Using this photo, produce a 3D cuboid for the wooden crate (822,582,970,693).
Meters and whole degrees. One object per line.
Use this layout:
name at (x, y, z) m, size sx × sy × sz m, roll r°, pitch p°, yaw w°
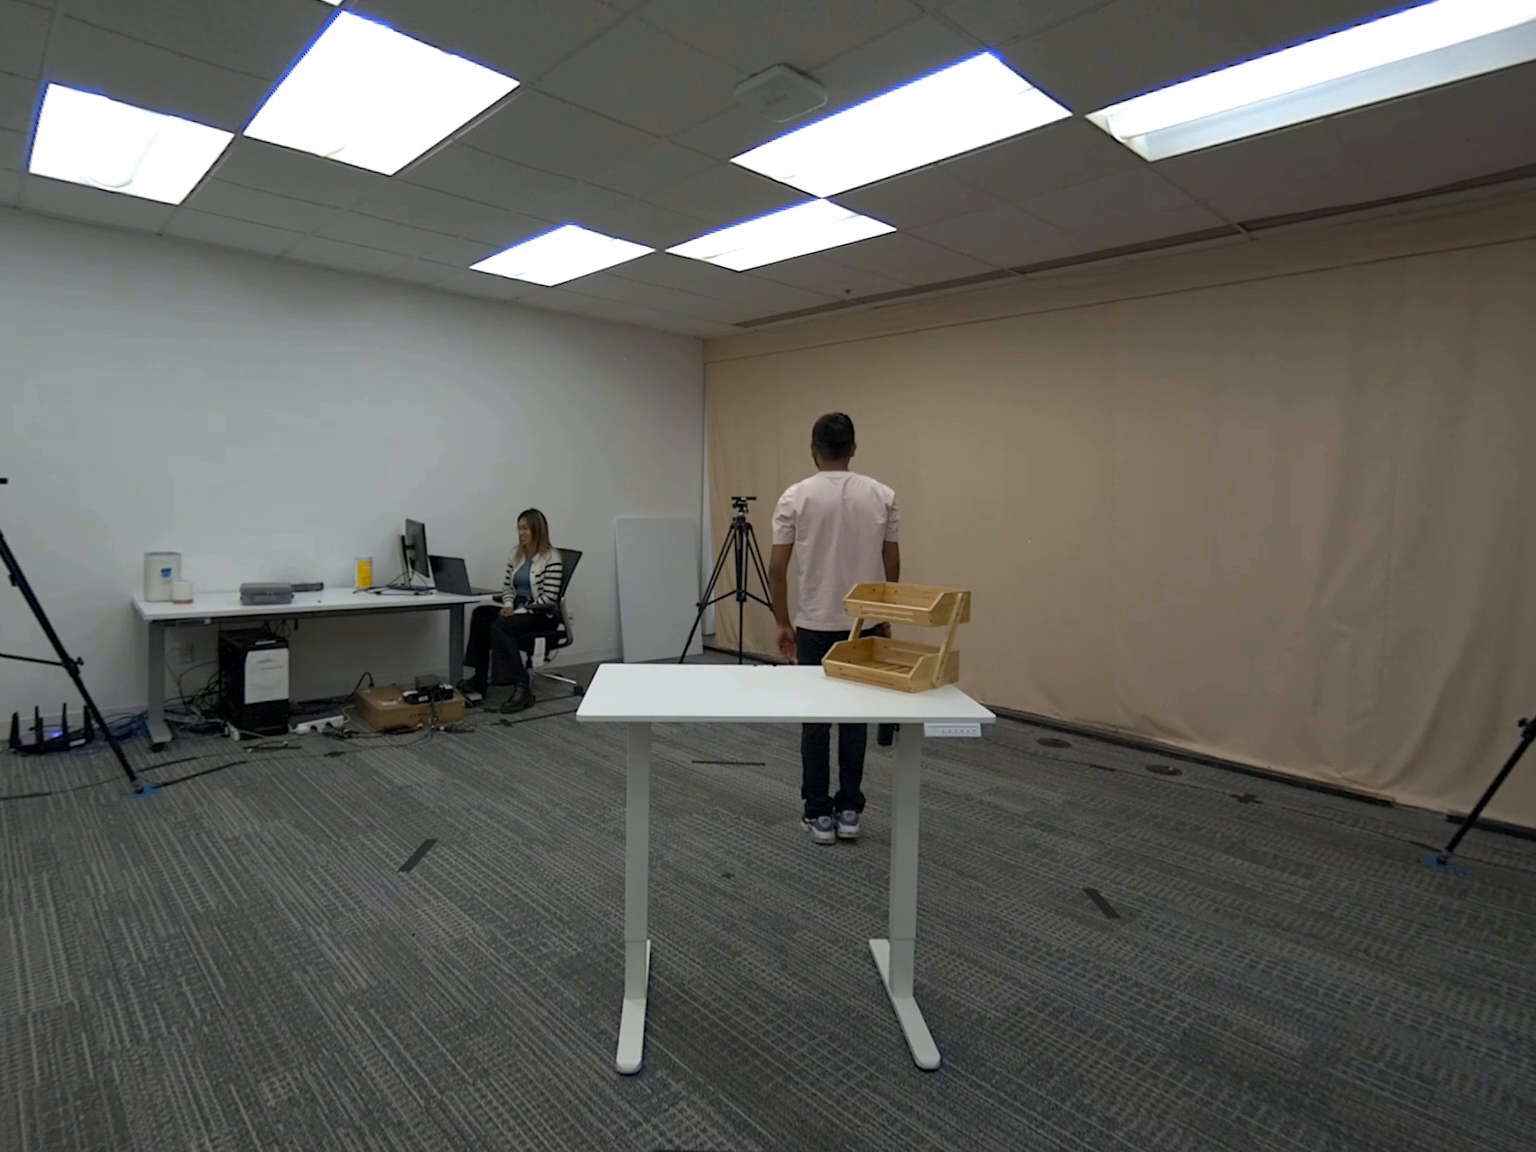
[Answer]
wooden crate at (0.361, 0.164, 2.430) m, size 0.333 × 0.273 × 0.295 m, roll 5°, pitch 5°, yaw 44°
